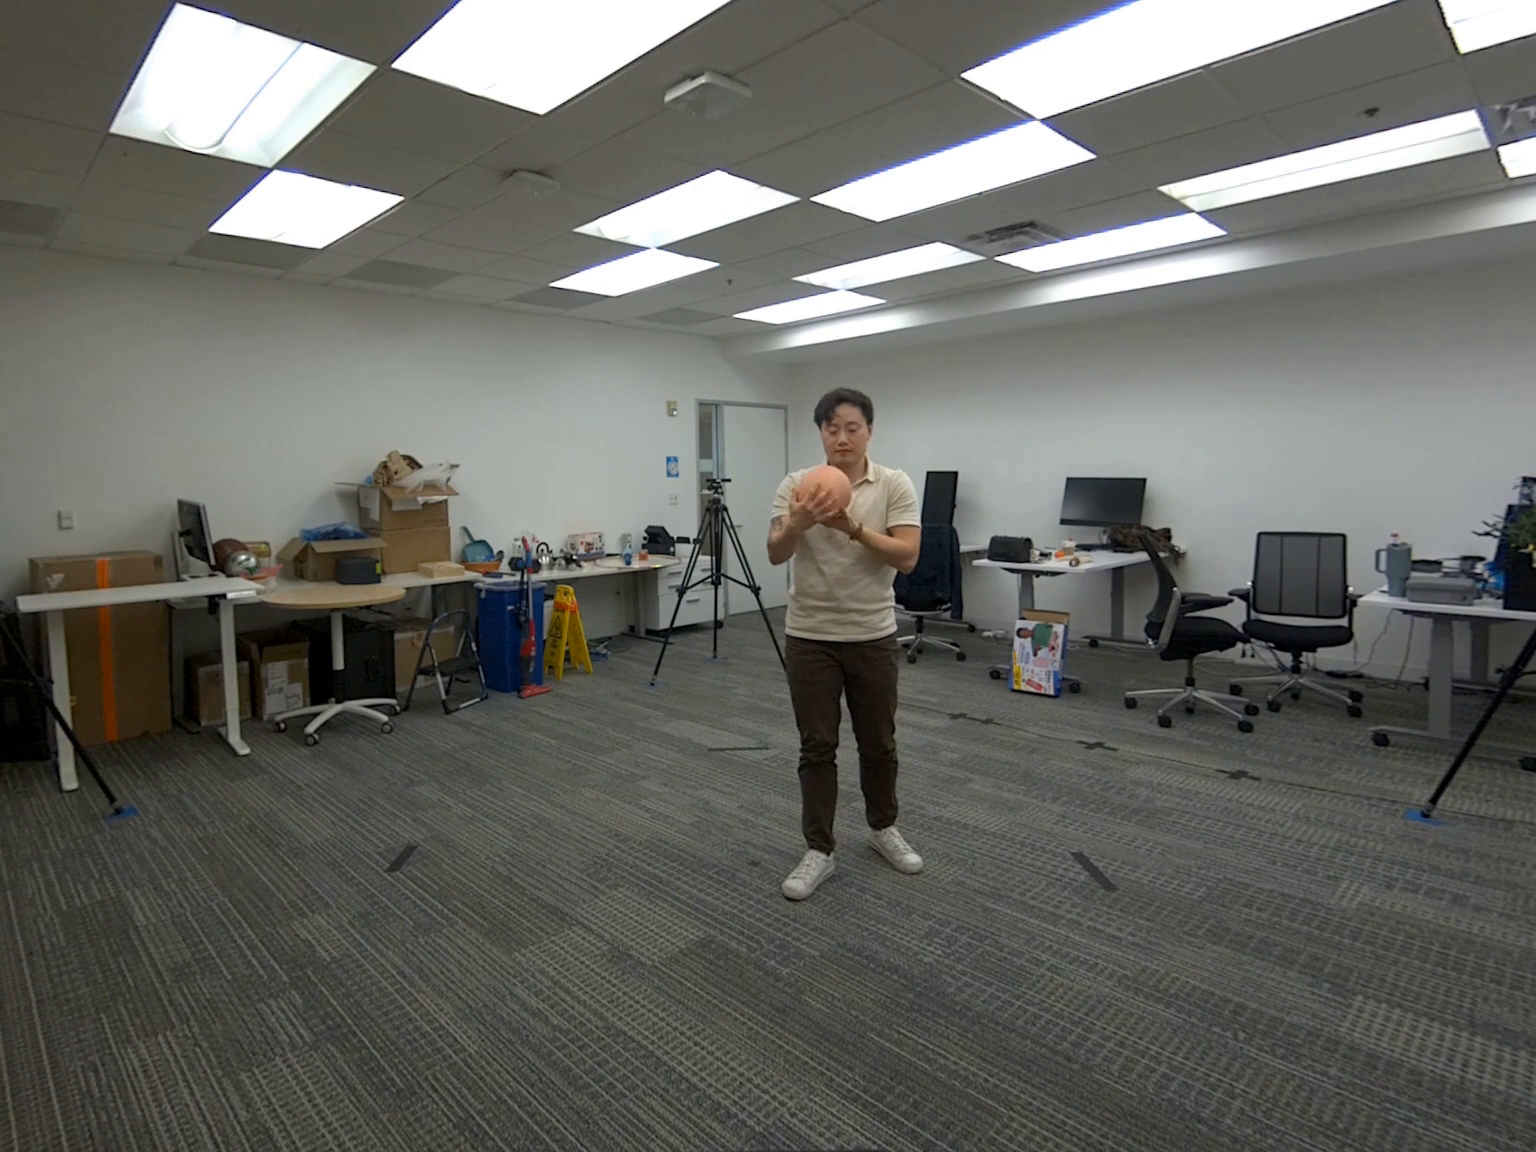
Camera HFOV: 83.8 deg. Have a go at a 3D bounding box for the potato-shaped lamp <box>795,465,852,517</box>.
[{"bbox_3d":[0.161,-0.247,2.679,0.169,0.167,0.197,18,36,22],"label":"potato-shaped lamp"}]
